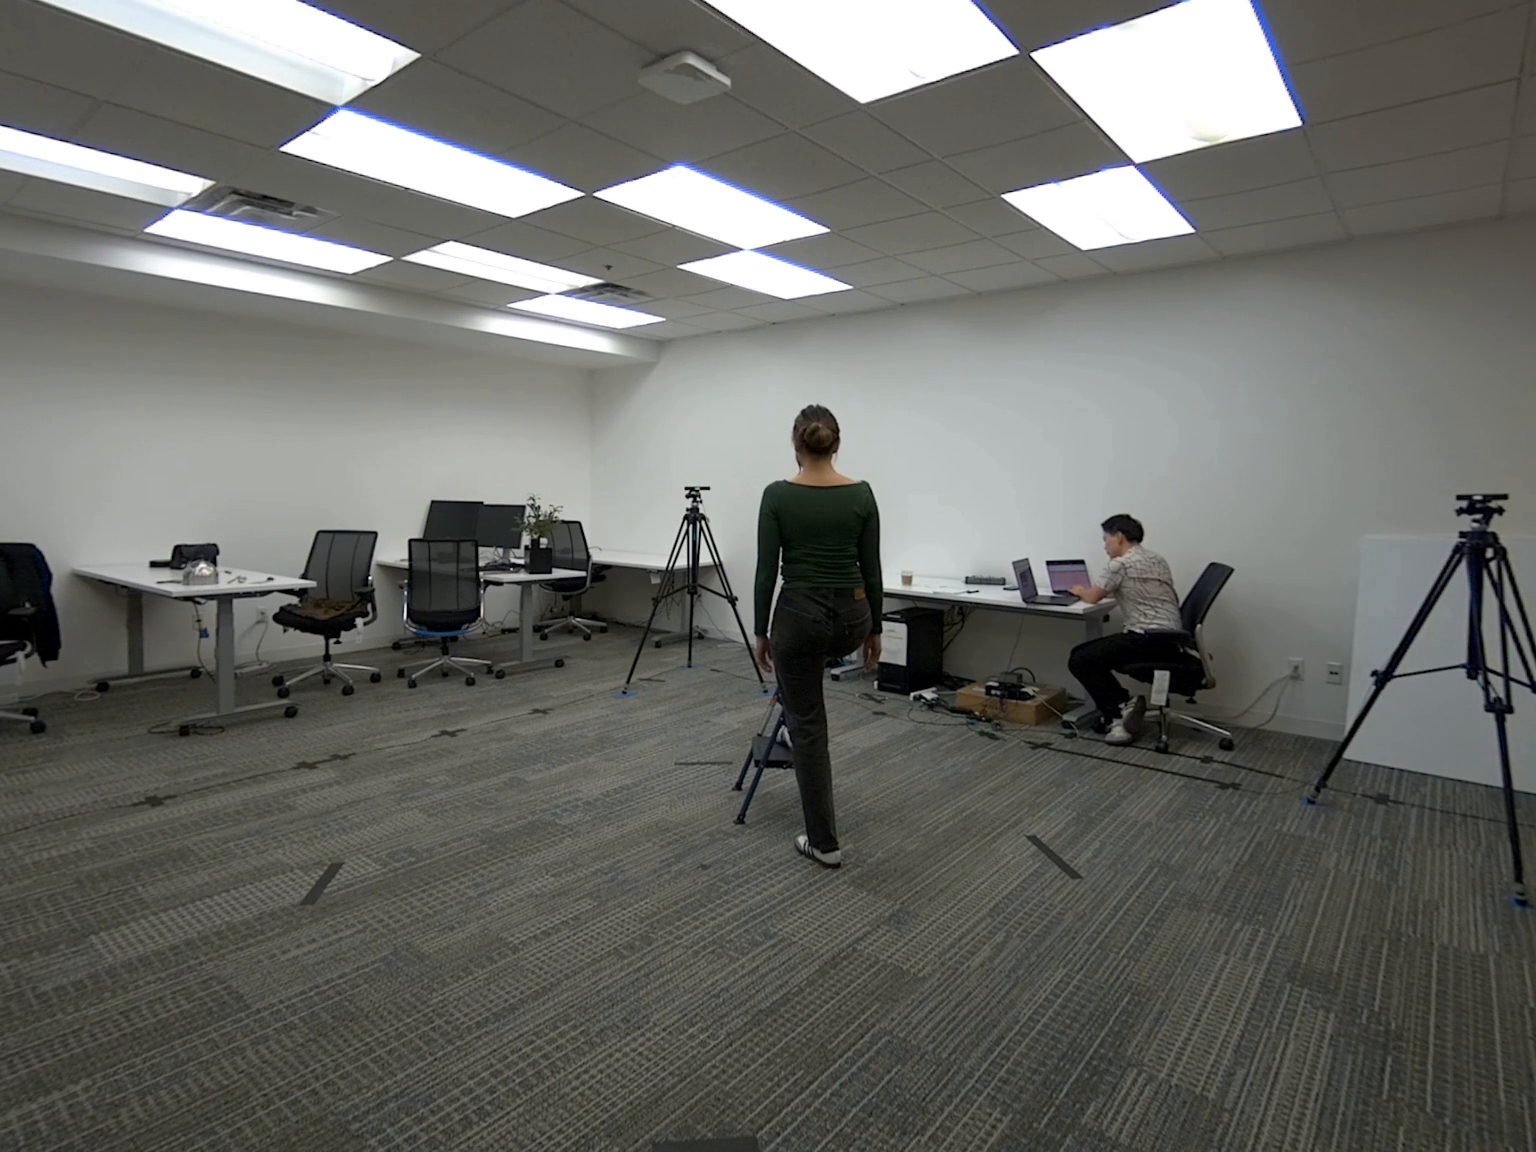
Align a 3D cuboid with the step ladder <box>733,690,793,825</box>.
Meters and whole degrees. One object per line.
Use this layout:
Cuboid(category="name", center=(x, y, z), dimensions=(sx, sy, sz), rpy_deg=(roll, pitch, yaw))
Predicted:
Cuboid(category="step ladder", center=(0.015, 0.711, 3.722), dimensions=(0.349, 0.604, 0.433), rpy_deg=(0, 3, -3))
